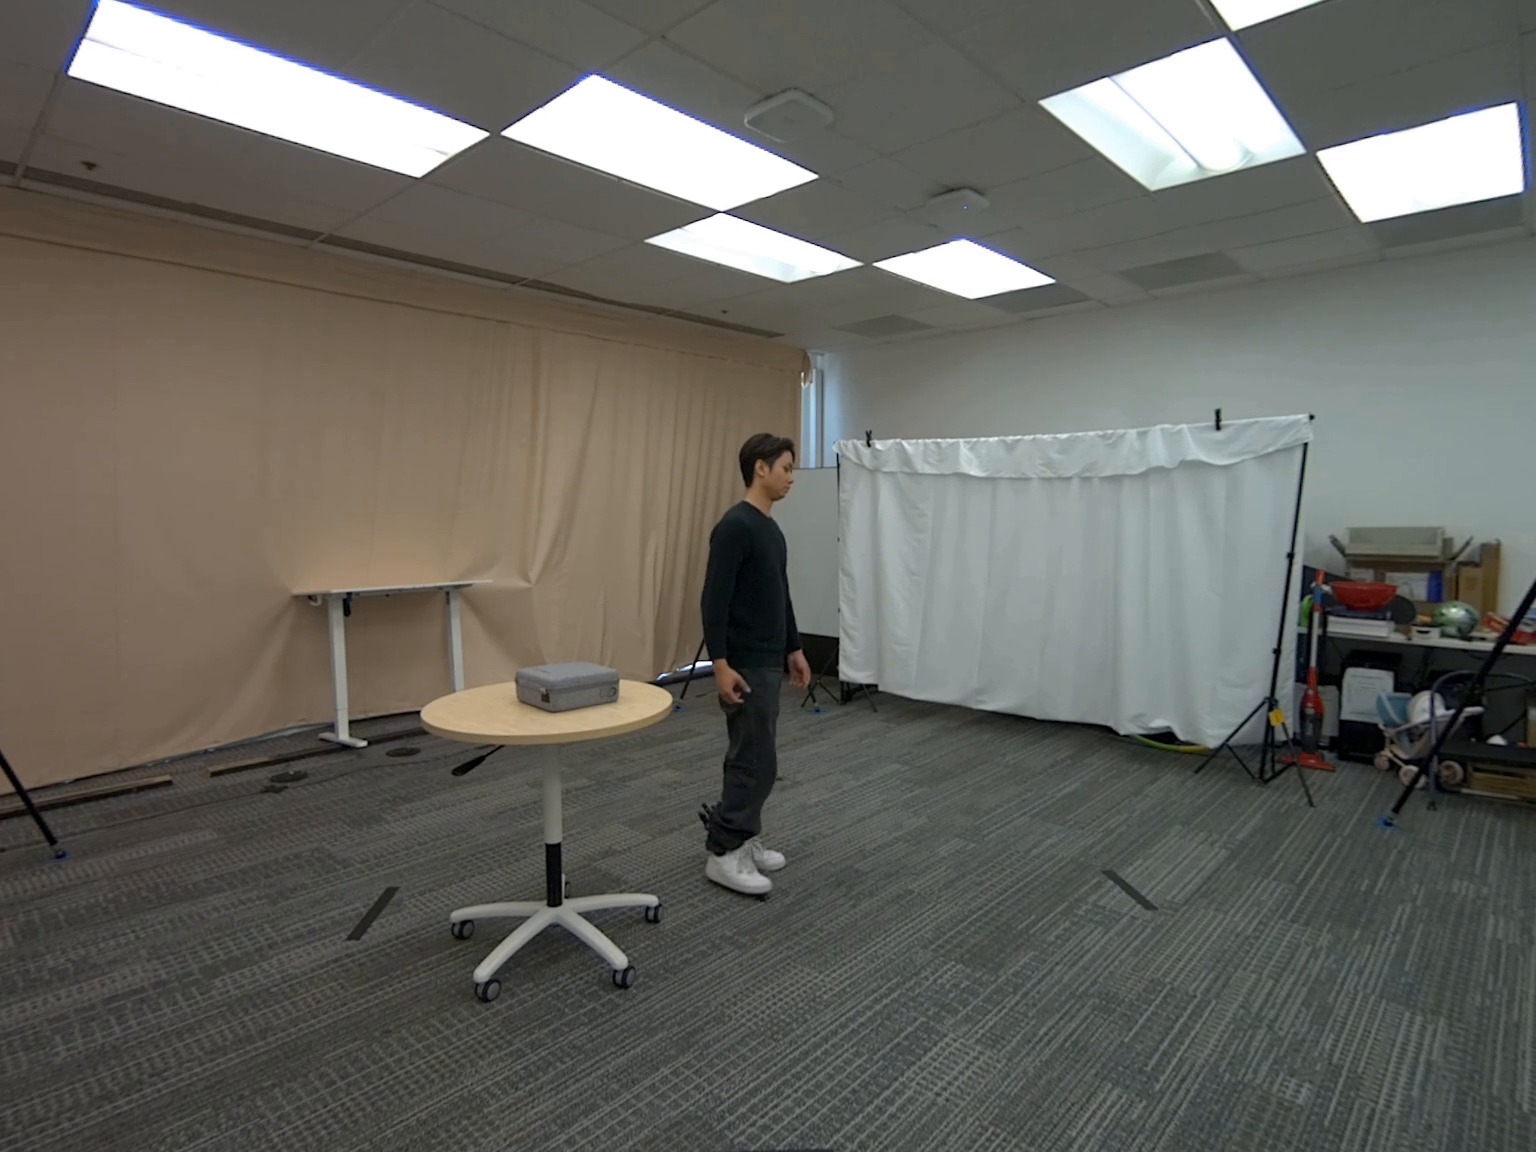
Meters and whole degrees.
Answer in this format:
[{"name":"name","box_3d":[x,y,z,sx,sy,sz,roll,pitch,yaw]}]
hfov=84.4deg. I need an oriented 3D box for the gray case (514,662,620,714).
[{"name":"gray case","box_3d":[-0.626,0.339,2.639,0.253,0.104,0.265,-4,4,-40]}]
